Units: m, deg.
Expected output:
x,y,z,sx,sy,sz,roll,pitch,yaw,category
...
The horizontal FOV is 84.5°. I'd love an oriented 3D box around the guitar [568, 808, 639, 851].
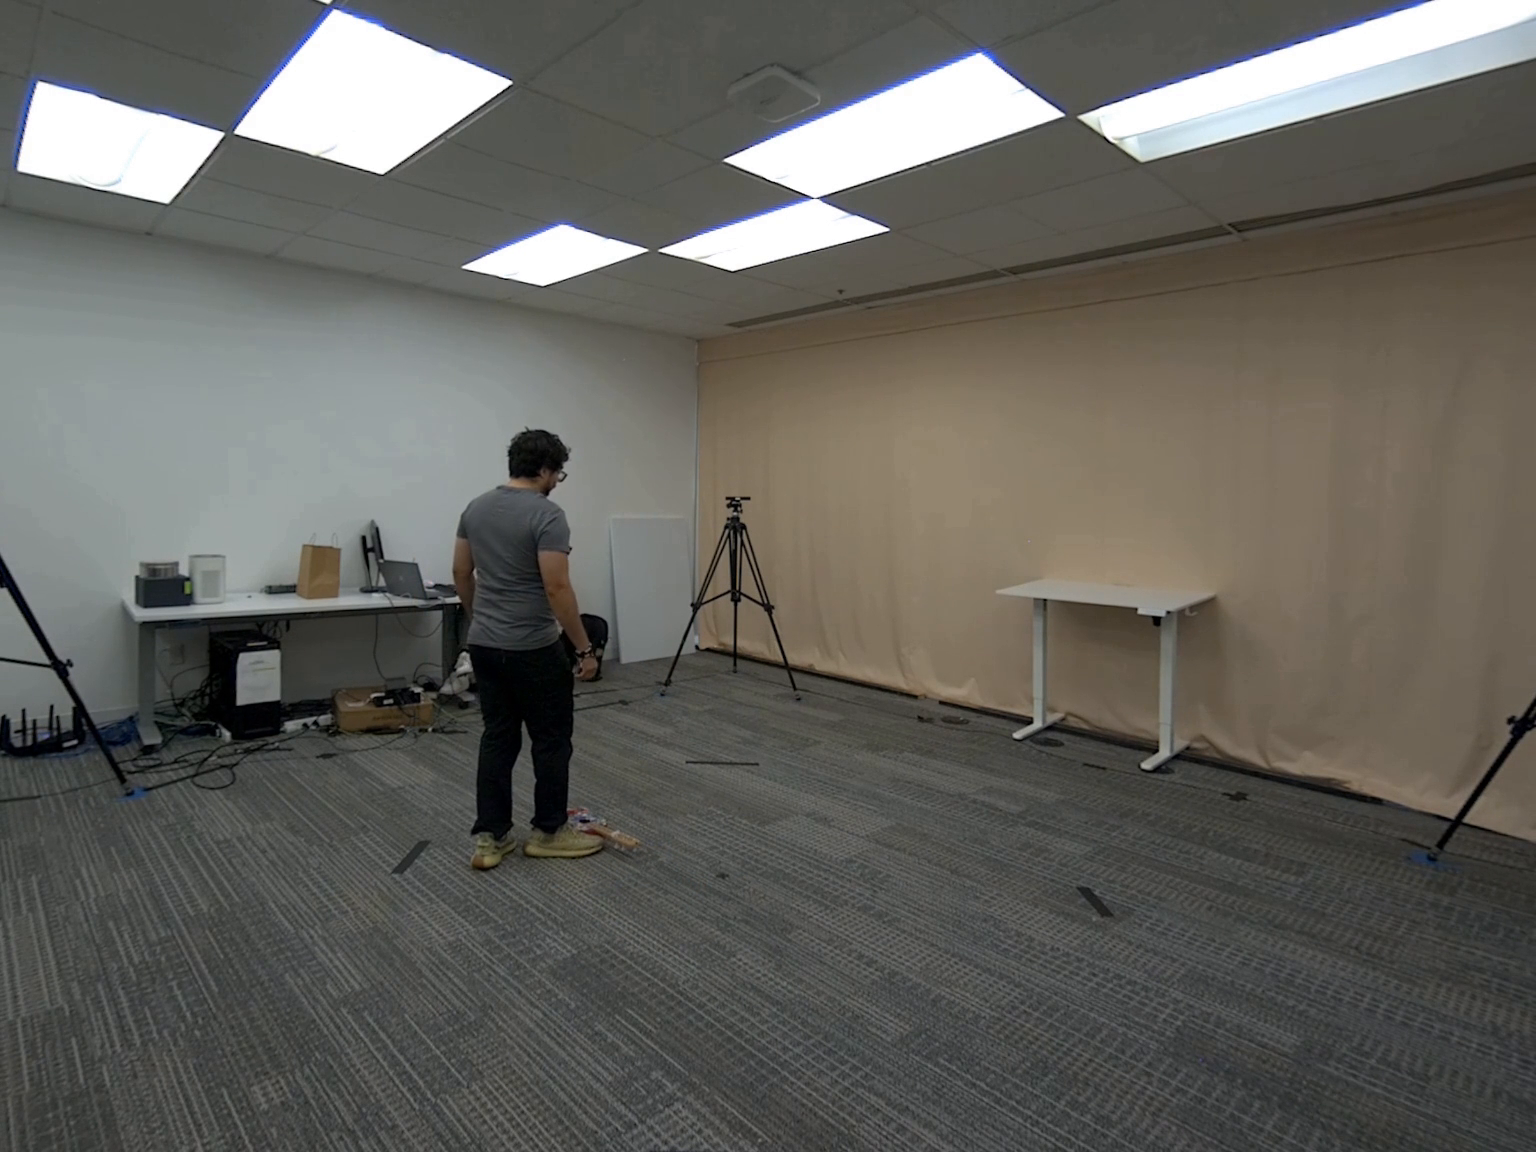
x,y,z,sx,sy,sz,roll,pitch,yaw,category
-0.725,1.038,3.377,0.189,0.070,0.510,-3,6,-39,guitar
